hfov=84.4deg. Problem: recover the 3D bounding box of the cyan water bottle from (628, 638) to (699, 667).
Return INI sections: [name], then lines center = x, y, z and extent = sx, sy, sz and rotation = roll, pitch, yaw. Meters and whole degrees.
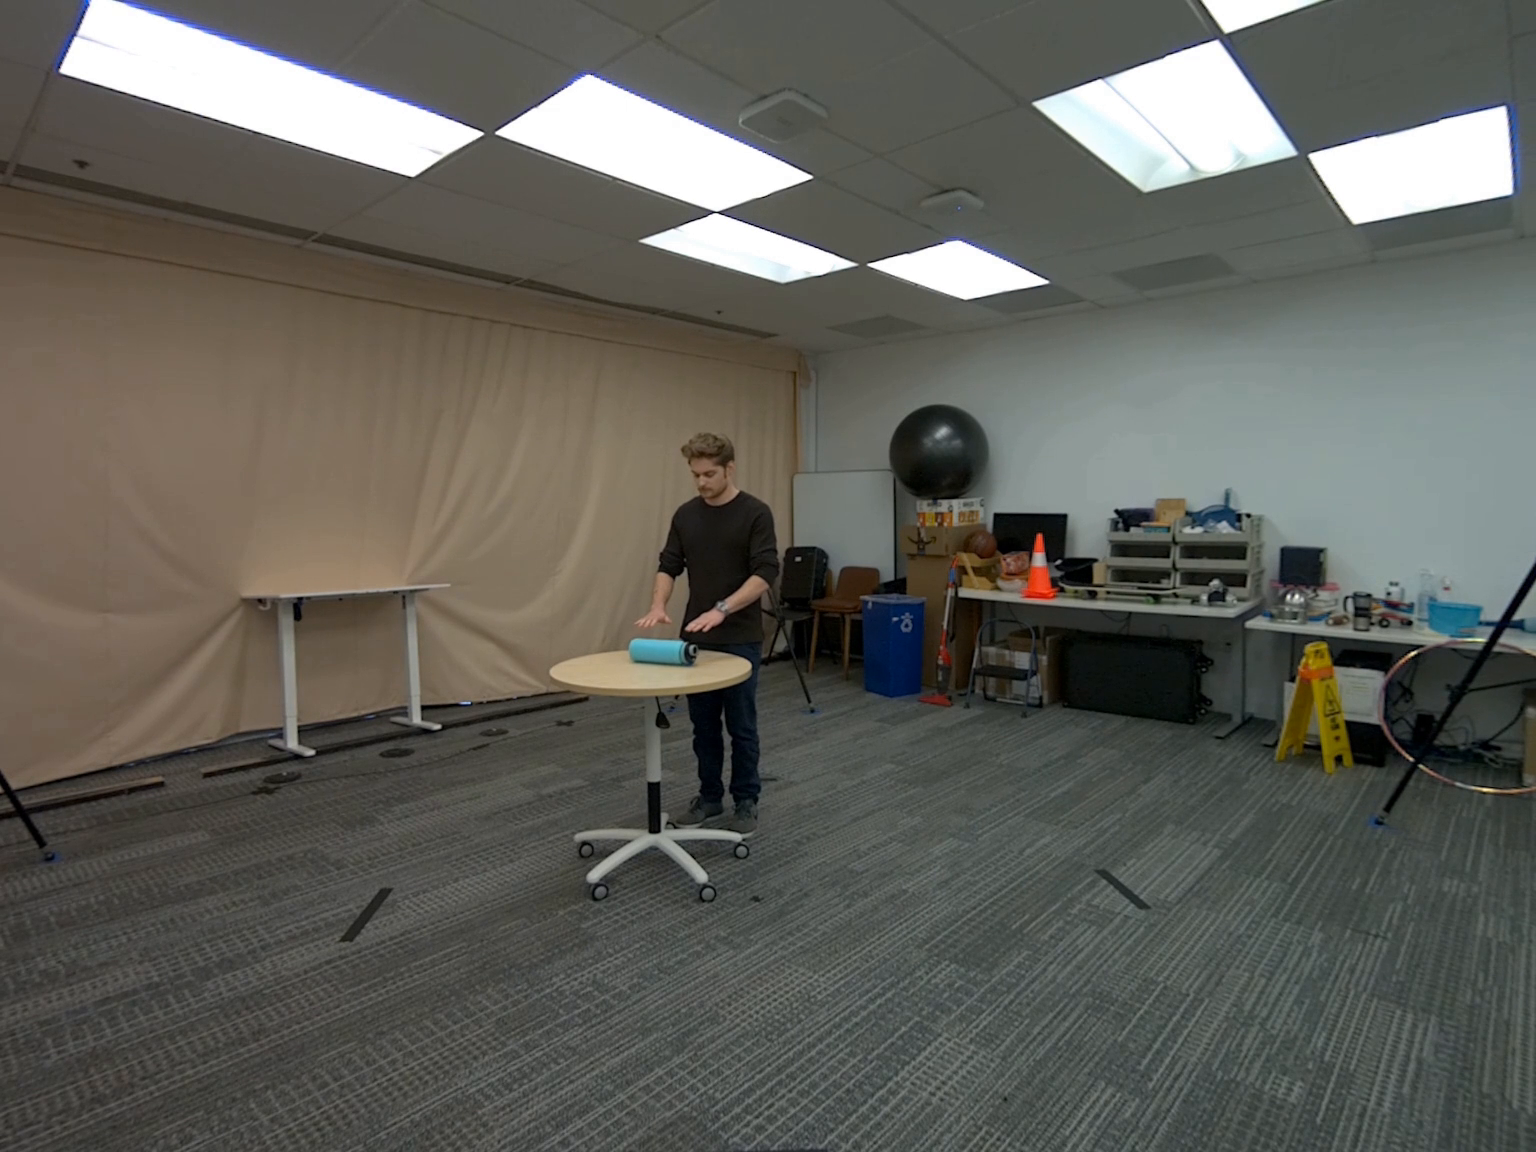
[cyan water bottle]
center = -0.396, 0.292, 3.260
extent = 0.291, 0.092, 0.090
rotation = 0, 3, 26
